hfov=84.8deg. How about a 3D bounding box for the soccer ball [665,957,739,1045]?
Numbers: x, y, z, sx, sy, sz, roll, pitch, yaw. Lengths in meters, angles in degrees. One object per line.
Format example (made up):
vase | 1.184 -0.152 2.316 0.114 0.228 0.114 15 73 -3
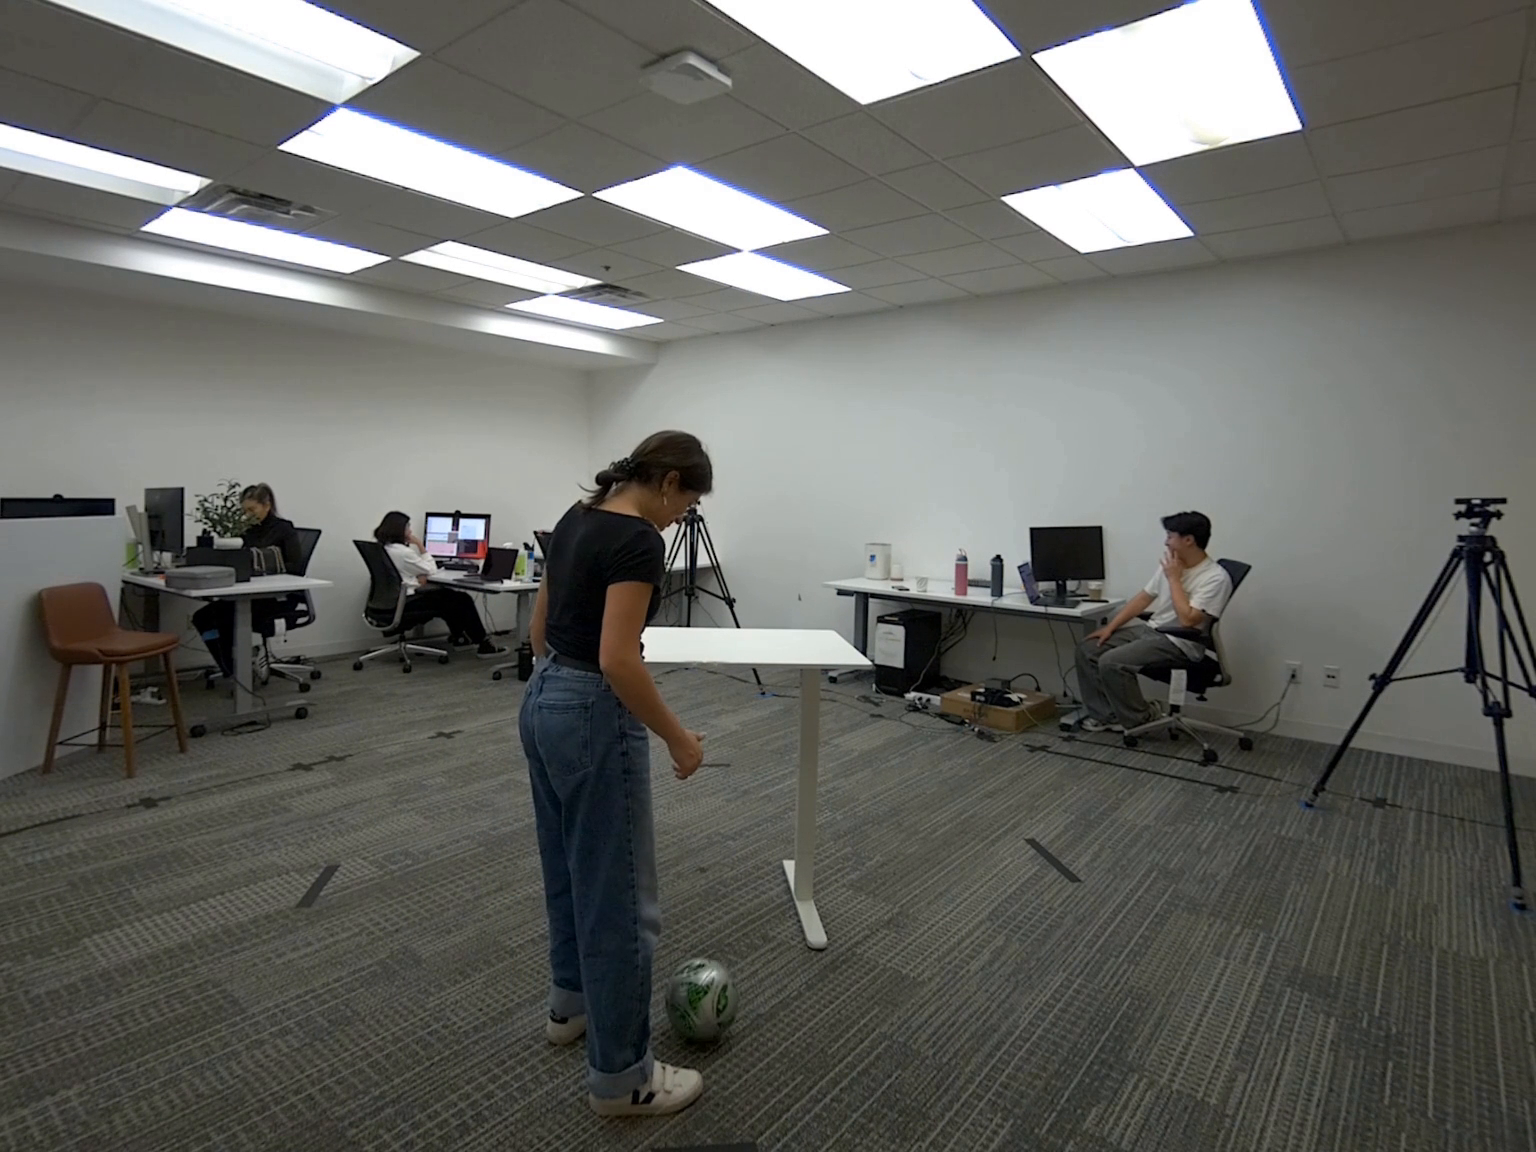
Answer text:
soccer ball | -0.167 1.077 2.157 0.187 0.187 0.188 1 4 -2
